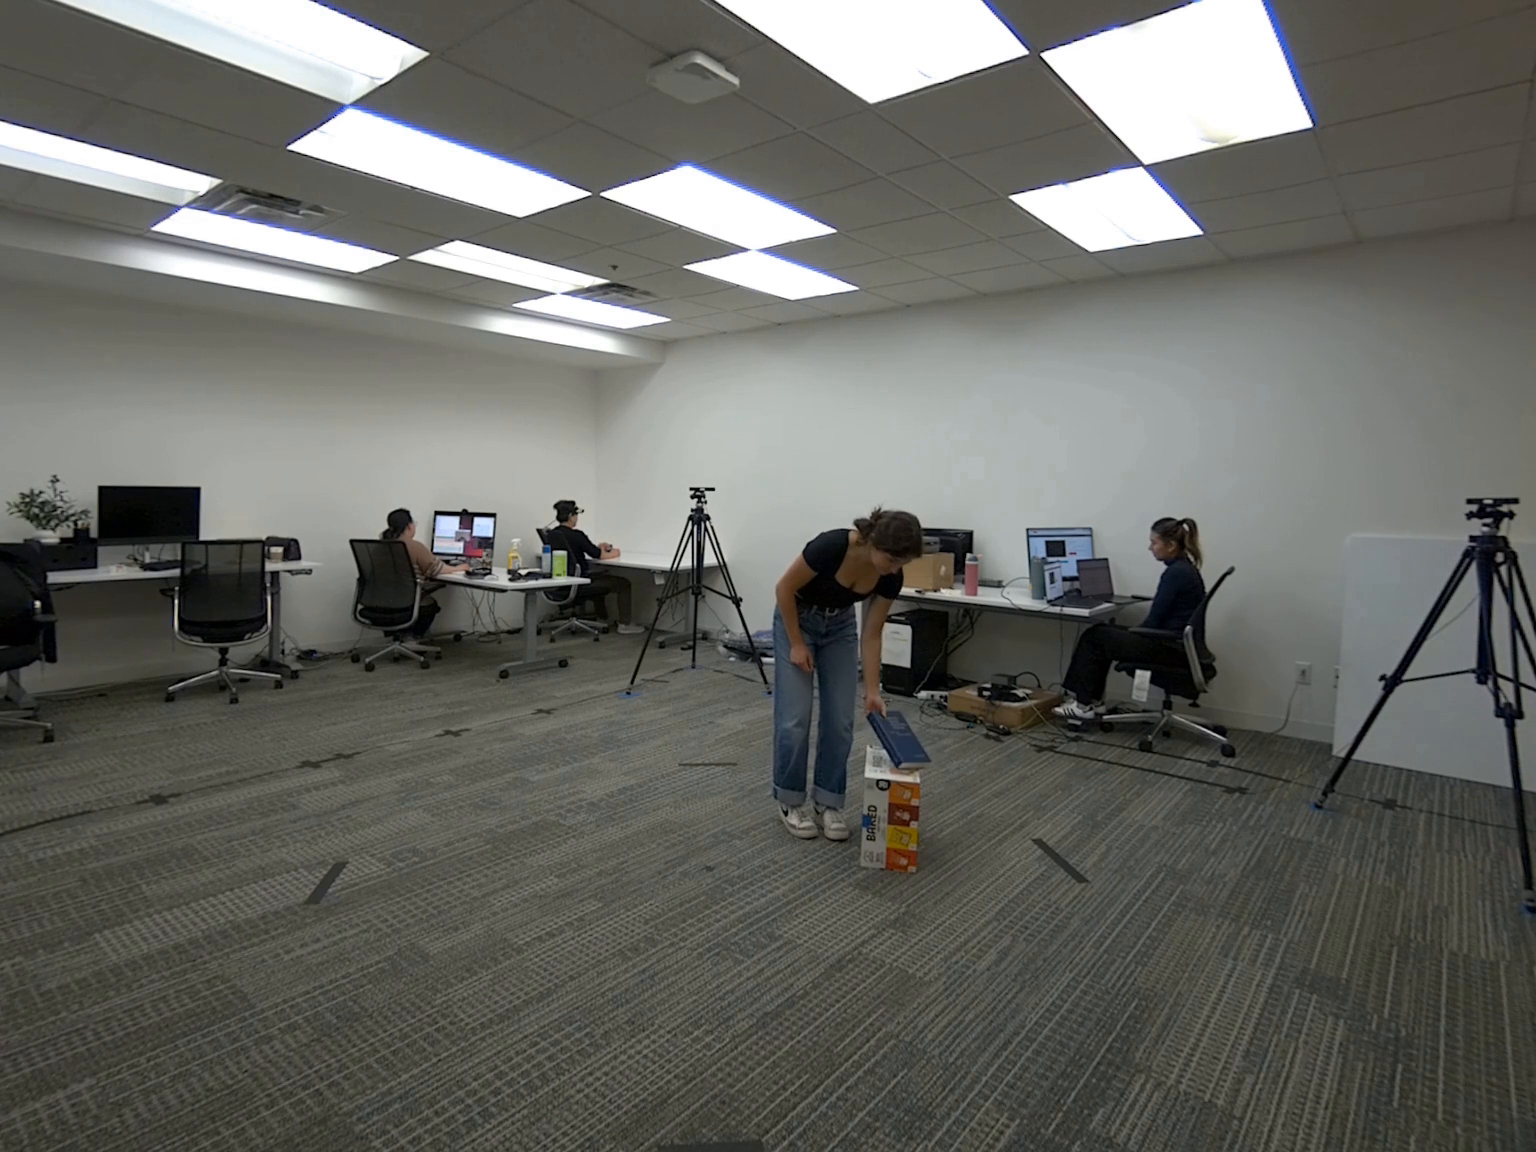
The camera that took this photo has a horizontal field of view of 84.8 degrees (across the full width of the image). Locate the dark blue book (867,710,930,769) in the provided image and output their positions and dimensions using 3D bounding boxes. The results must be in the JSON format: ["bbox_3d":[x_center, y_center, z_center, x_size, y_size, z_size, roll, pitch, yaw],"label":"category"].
[{"bbox_3d":[0.506,0.631,3.299,0.158,0.045,0.255,8,37,-37],"label":"dark blue book"}]
